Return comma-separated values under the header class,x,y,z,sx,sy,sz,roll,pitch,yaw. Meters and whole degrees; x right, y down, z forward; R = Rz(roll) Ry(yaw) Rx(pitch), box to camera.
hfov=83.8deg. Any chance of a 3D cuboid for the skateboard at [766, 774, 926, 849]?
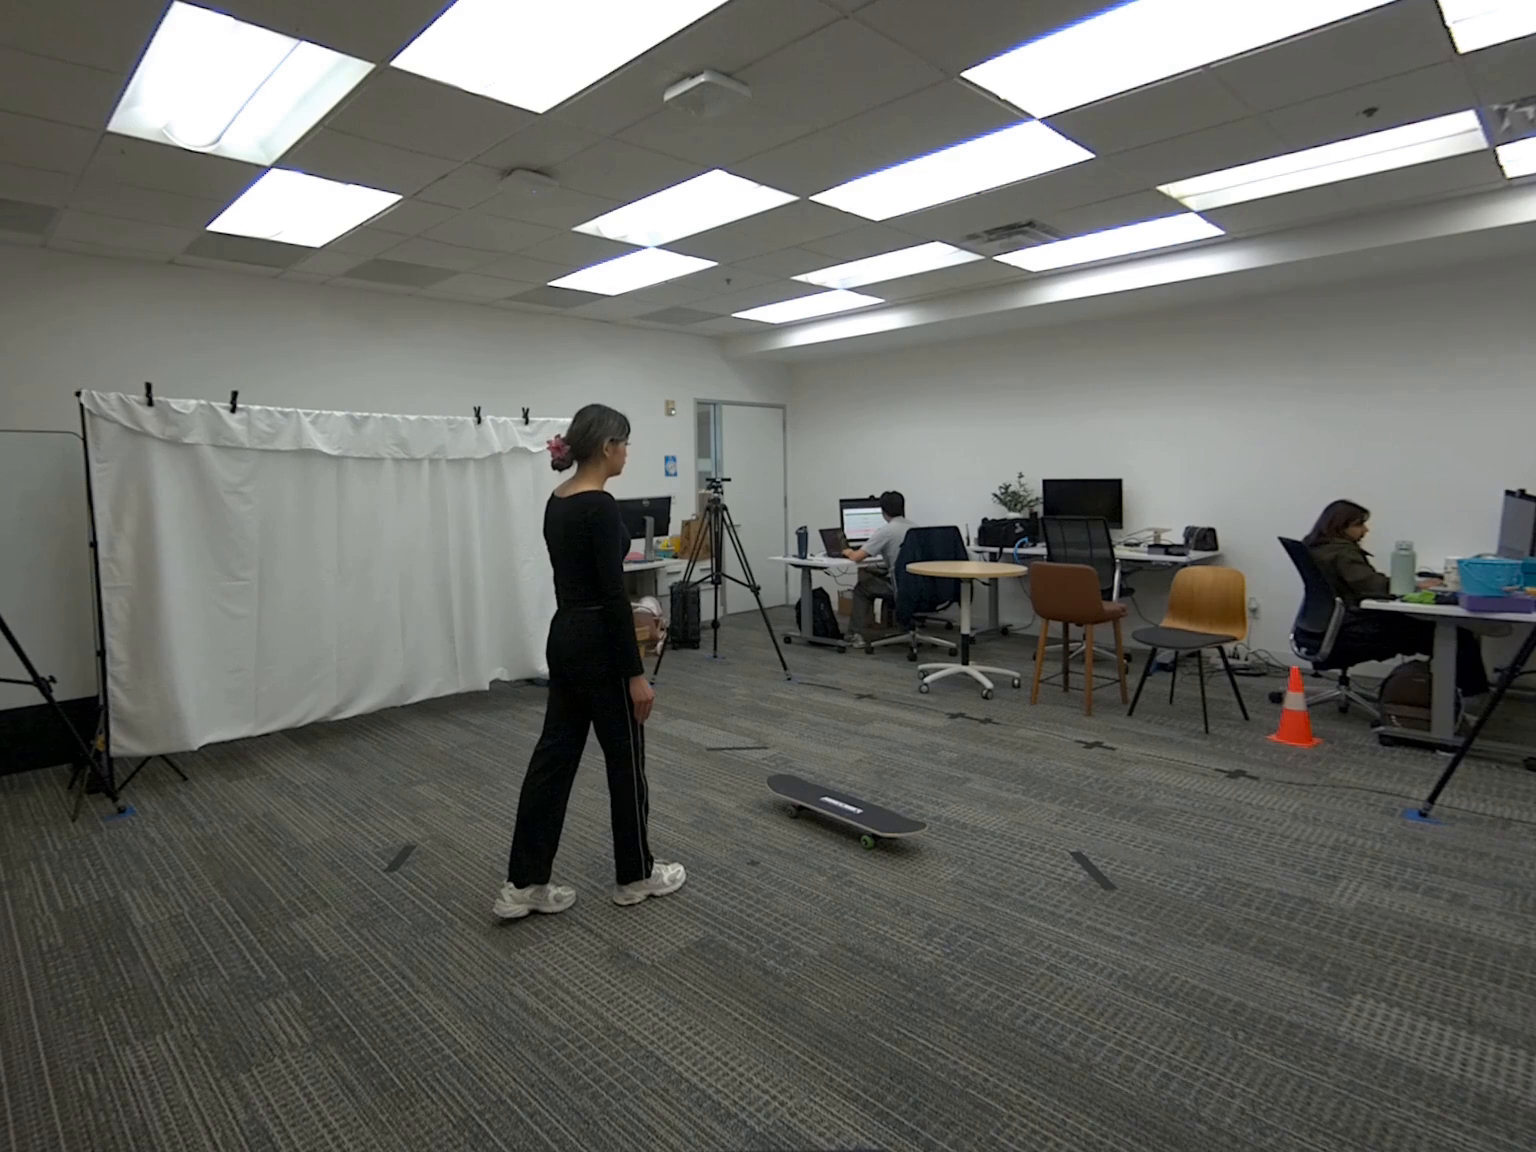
class,x,y,z,sx,sy,sz,roll,pitch,yaw
skateboard,0.300,0.948,3.409,0.188,0.110,0.810,-5,8,-41
